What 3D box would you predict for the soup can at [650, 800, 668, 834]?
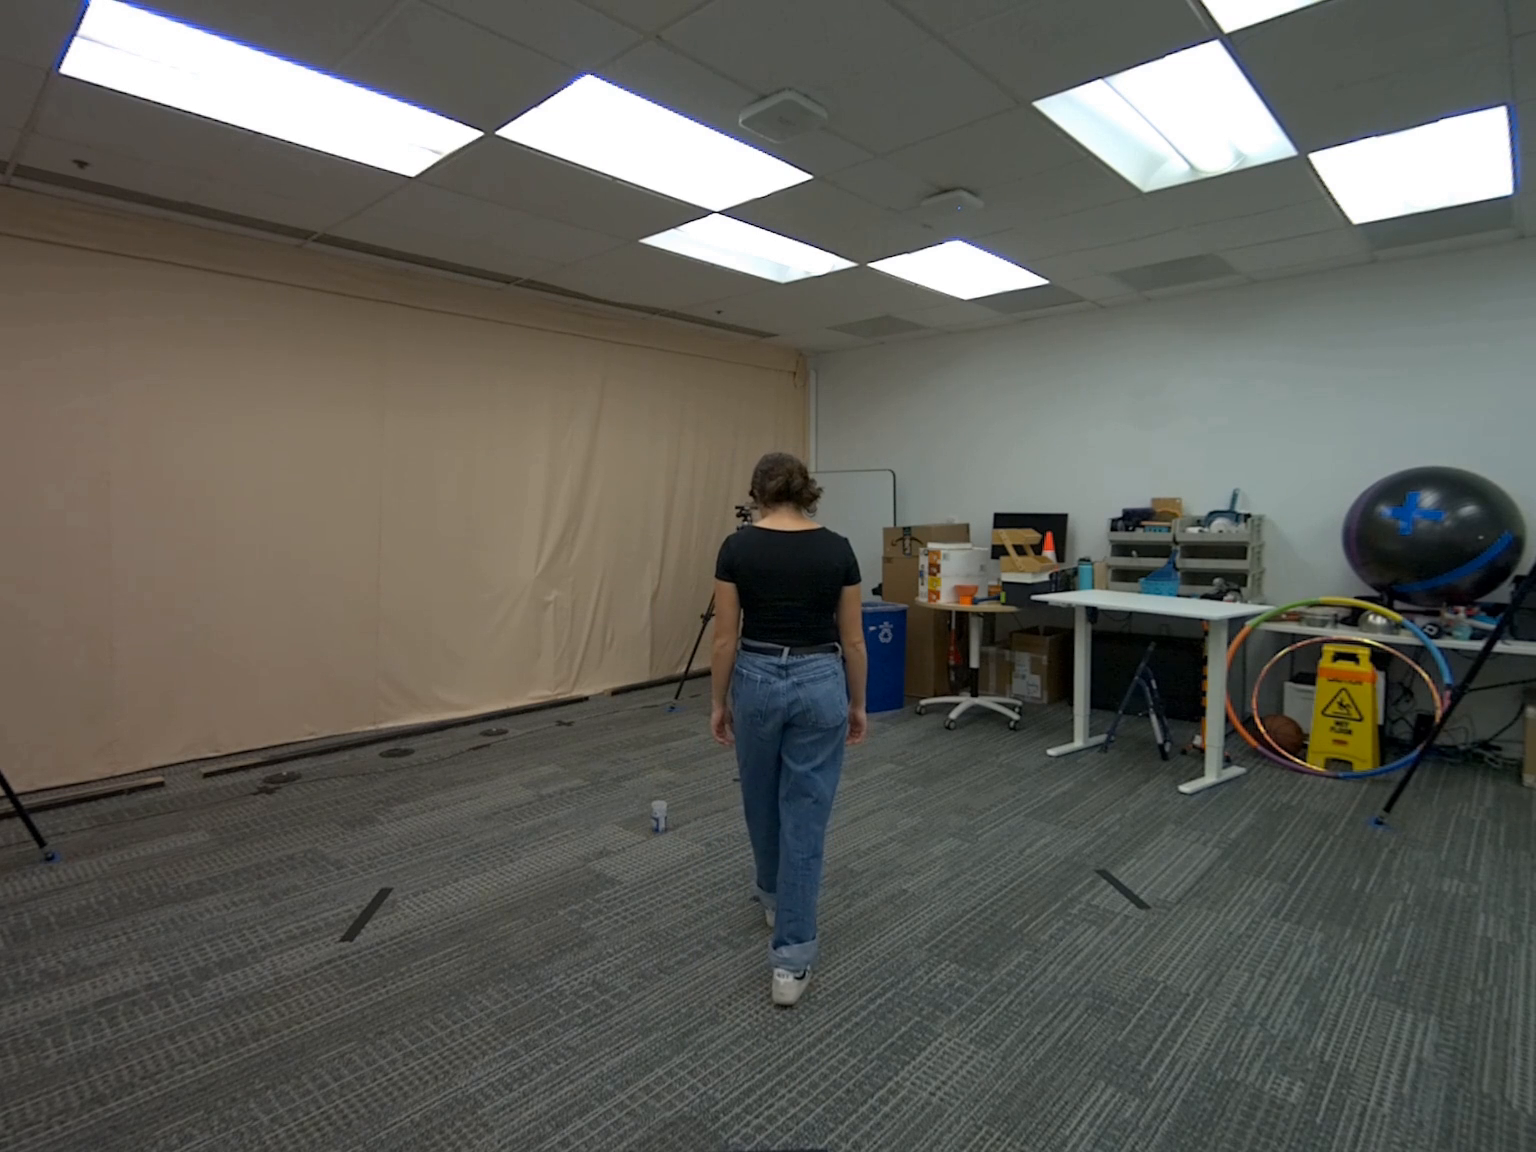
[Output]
[{"bbox_3d":[-0.469,1.033,3.625,0.067,0.121,0.067,1,3,-2],"label":"soup can"}]
